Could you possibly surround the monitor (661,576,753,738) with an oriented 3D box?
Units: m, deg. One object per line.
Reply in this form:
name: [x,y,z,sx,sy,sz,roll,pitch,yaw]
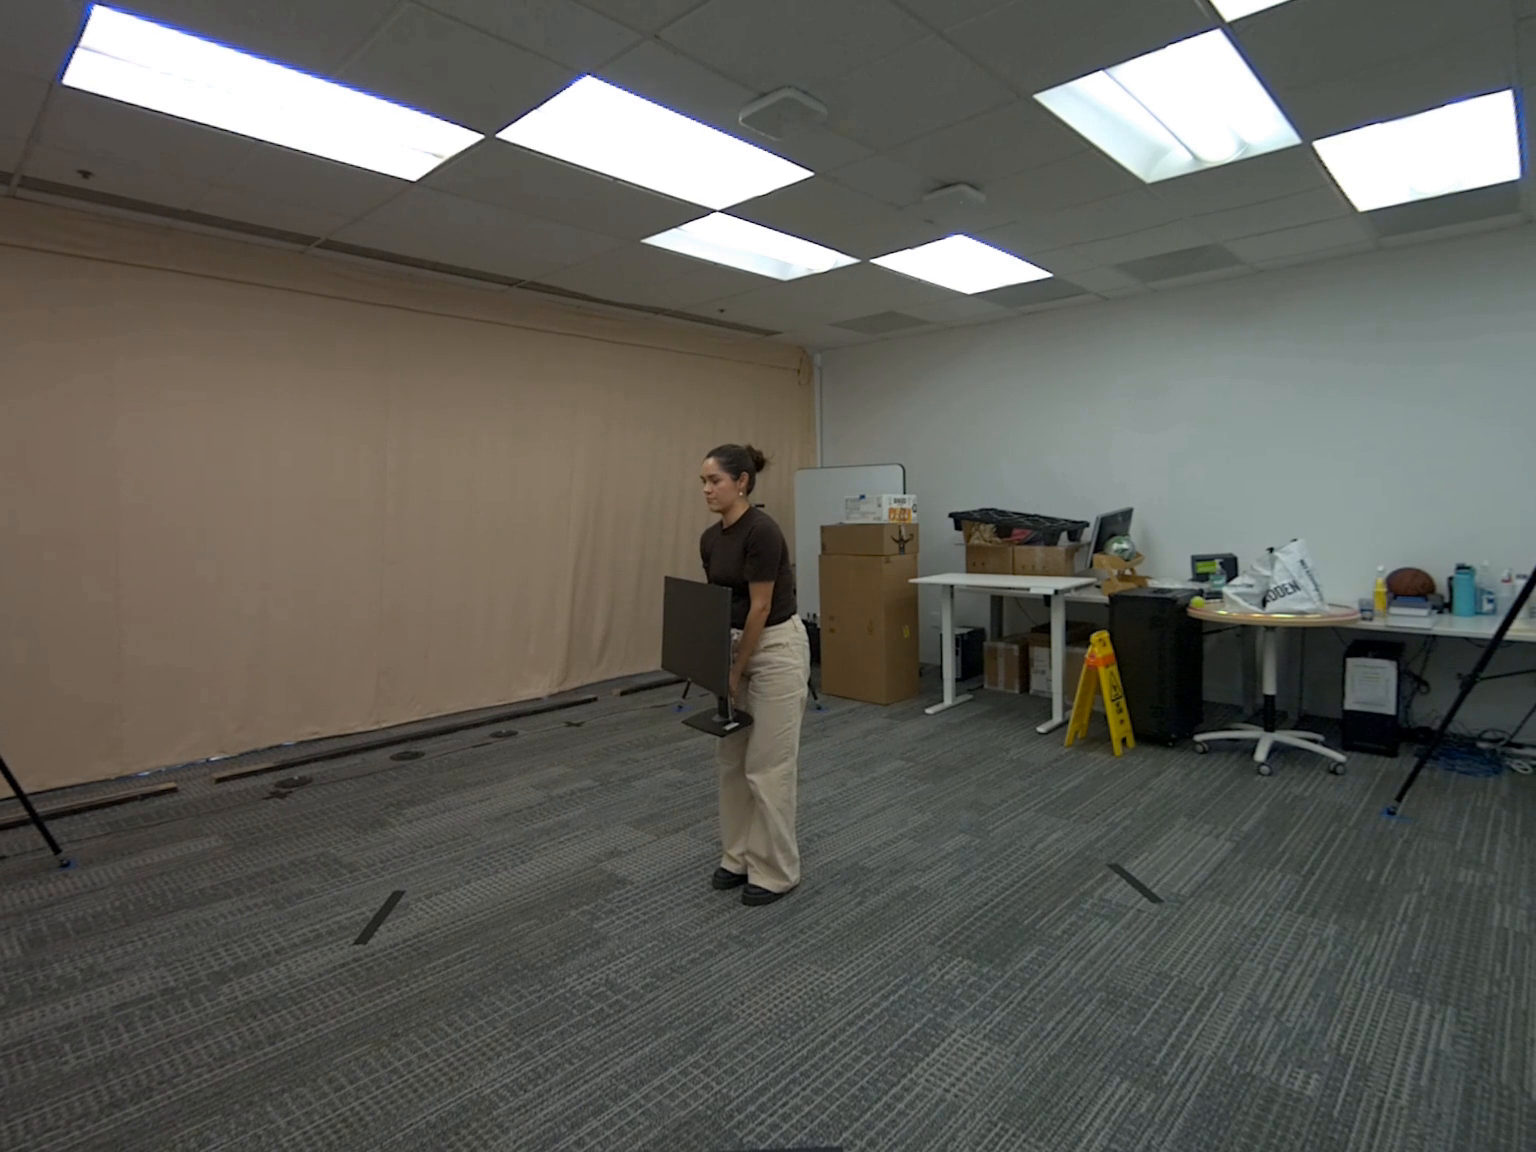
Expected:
monitor: [-0.215,0.275,2.967,0.183,0.519,0.555,-13,9,-30]
